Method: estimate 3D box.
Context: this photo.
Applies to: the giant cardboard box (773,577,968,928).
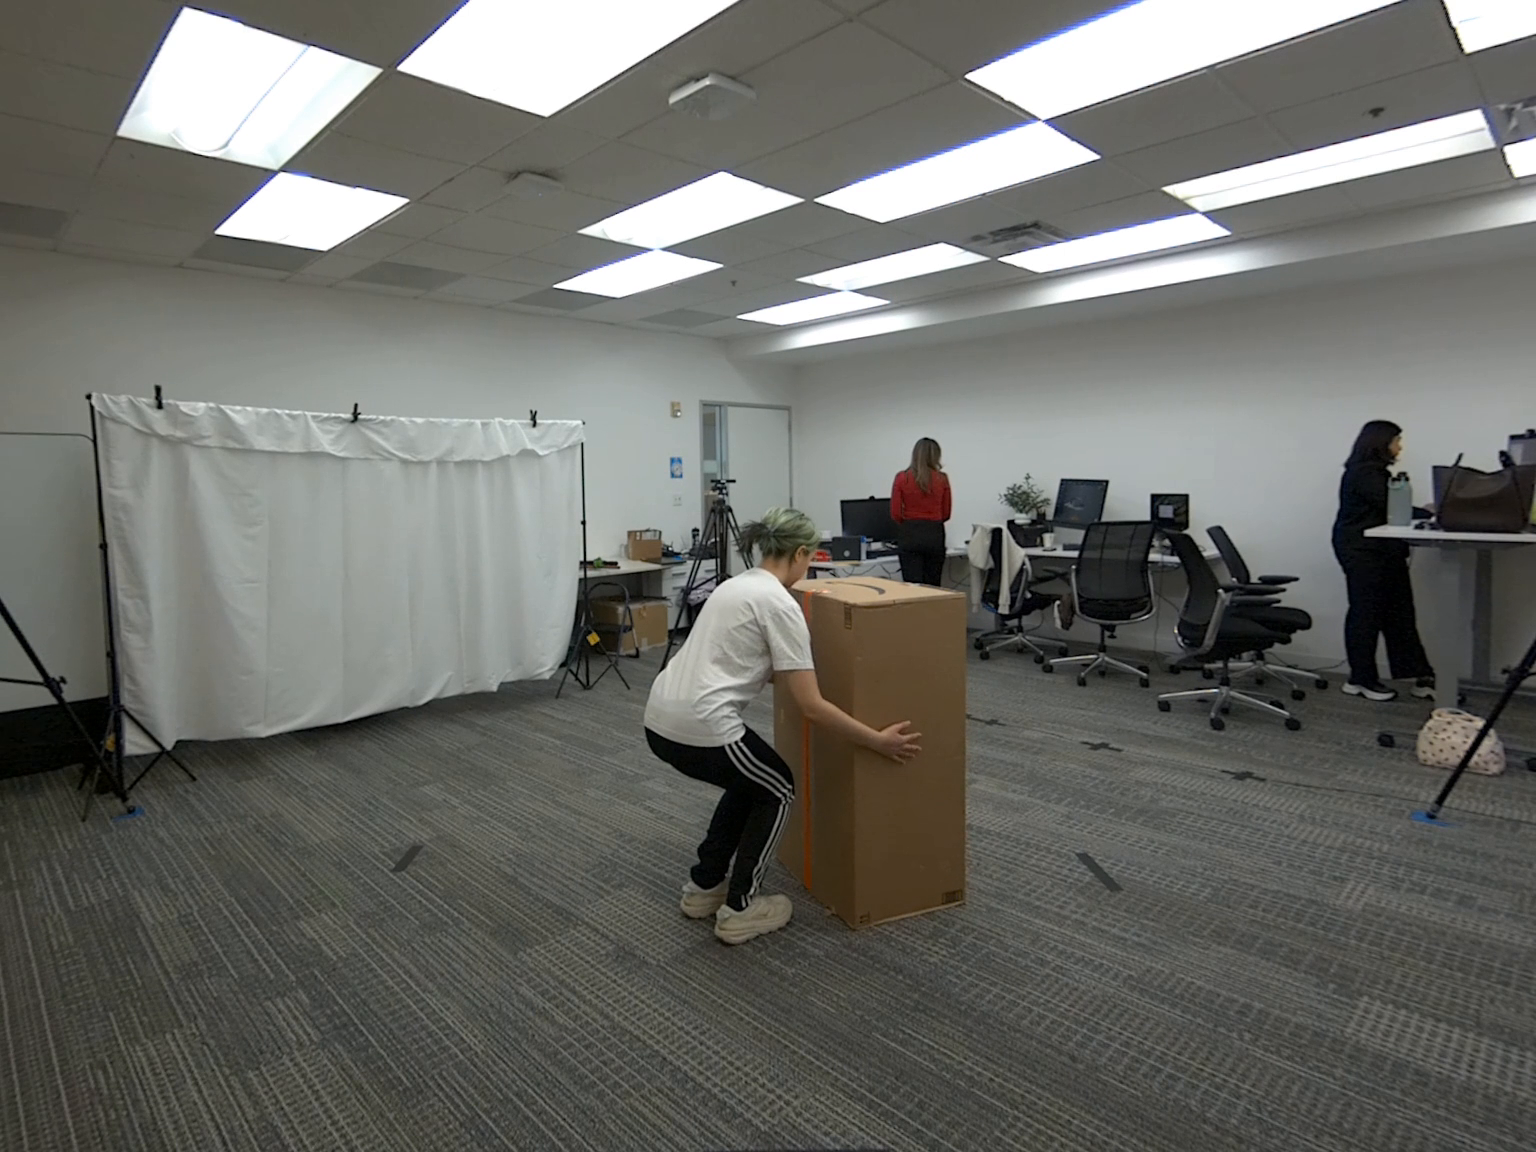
[{"bbox_3d":[0.332,0.547,2.943,0.418,1.022,0.592,-2,5,-24],"label":"giant cardboard box"}]
